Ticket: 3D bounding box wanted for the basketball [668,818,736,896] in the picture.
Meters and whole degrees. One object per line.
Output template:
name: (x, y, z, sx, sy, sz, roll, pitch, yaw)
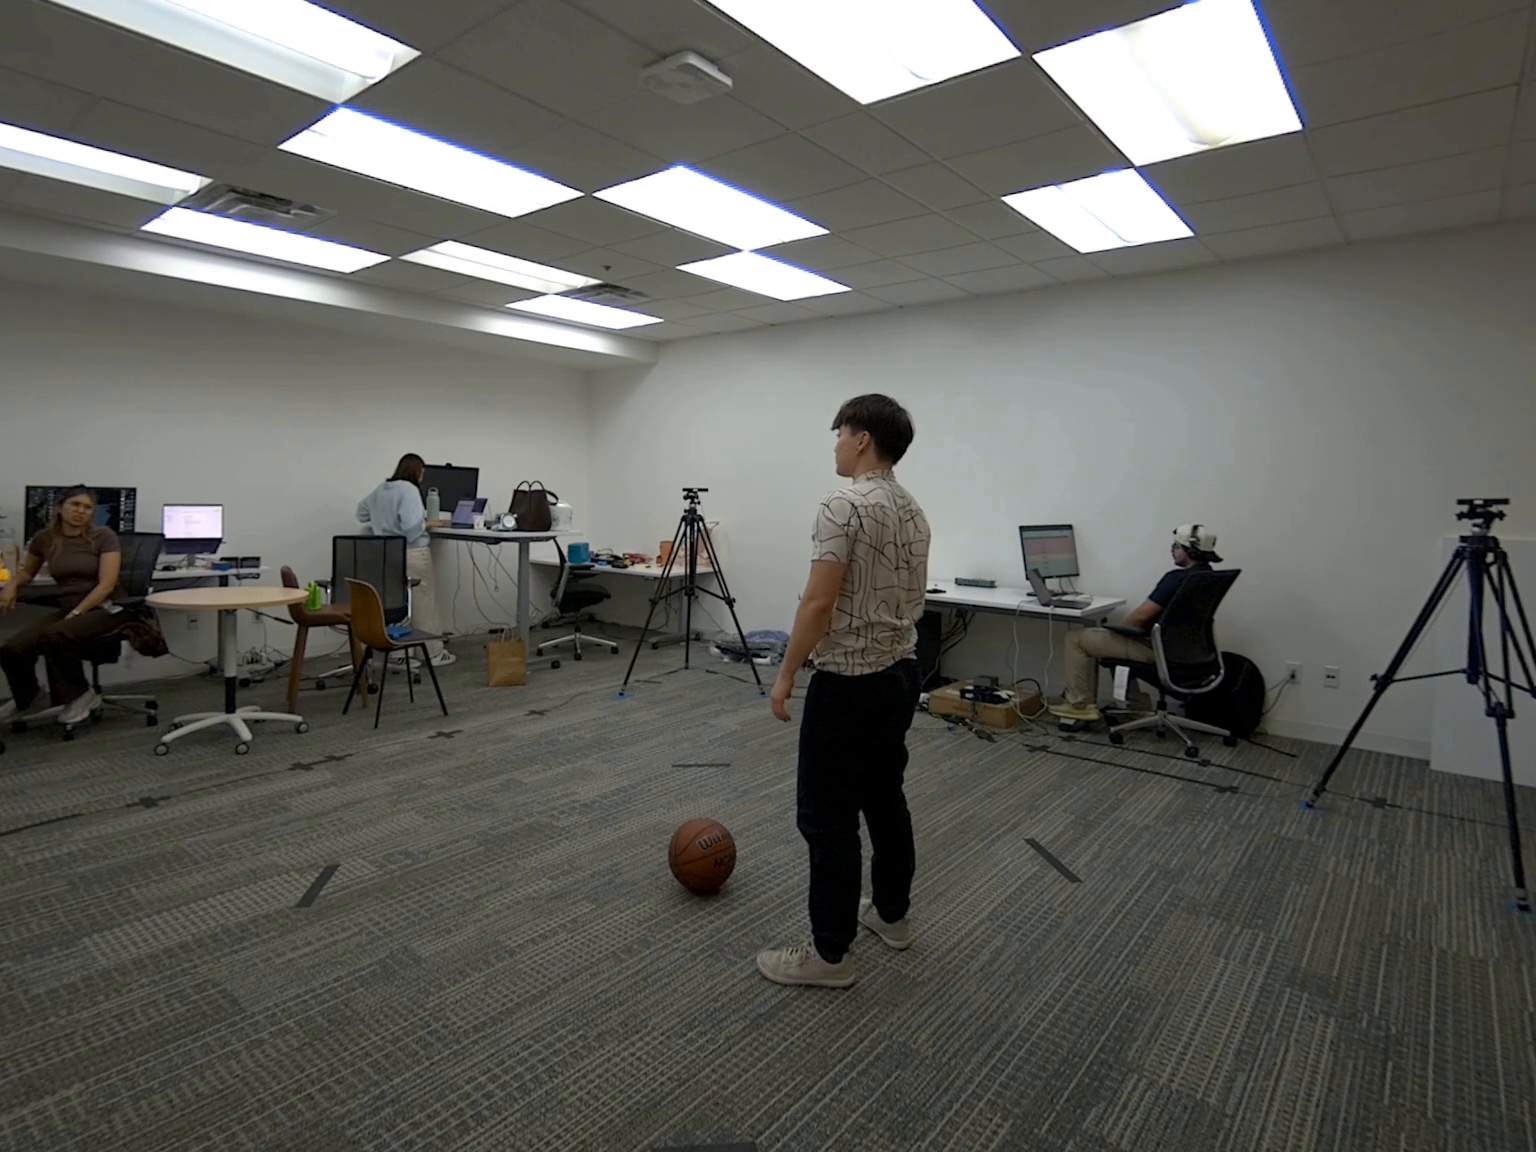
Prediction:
basketball: (-0.235, 0.962, 2.959, 0.235, 0.235, 0.237, 1, 4, -2)
